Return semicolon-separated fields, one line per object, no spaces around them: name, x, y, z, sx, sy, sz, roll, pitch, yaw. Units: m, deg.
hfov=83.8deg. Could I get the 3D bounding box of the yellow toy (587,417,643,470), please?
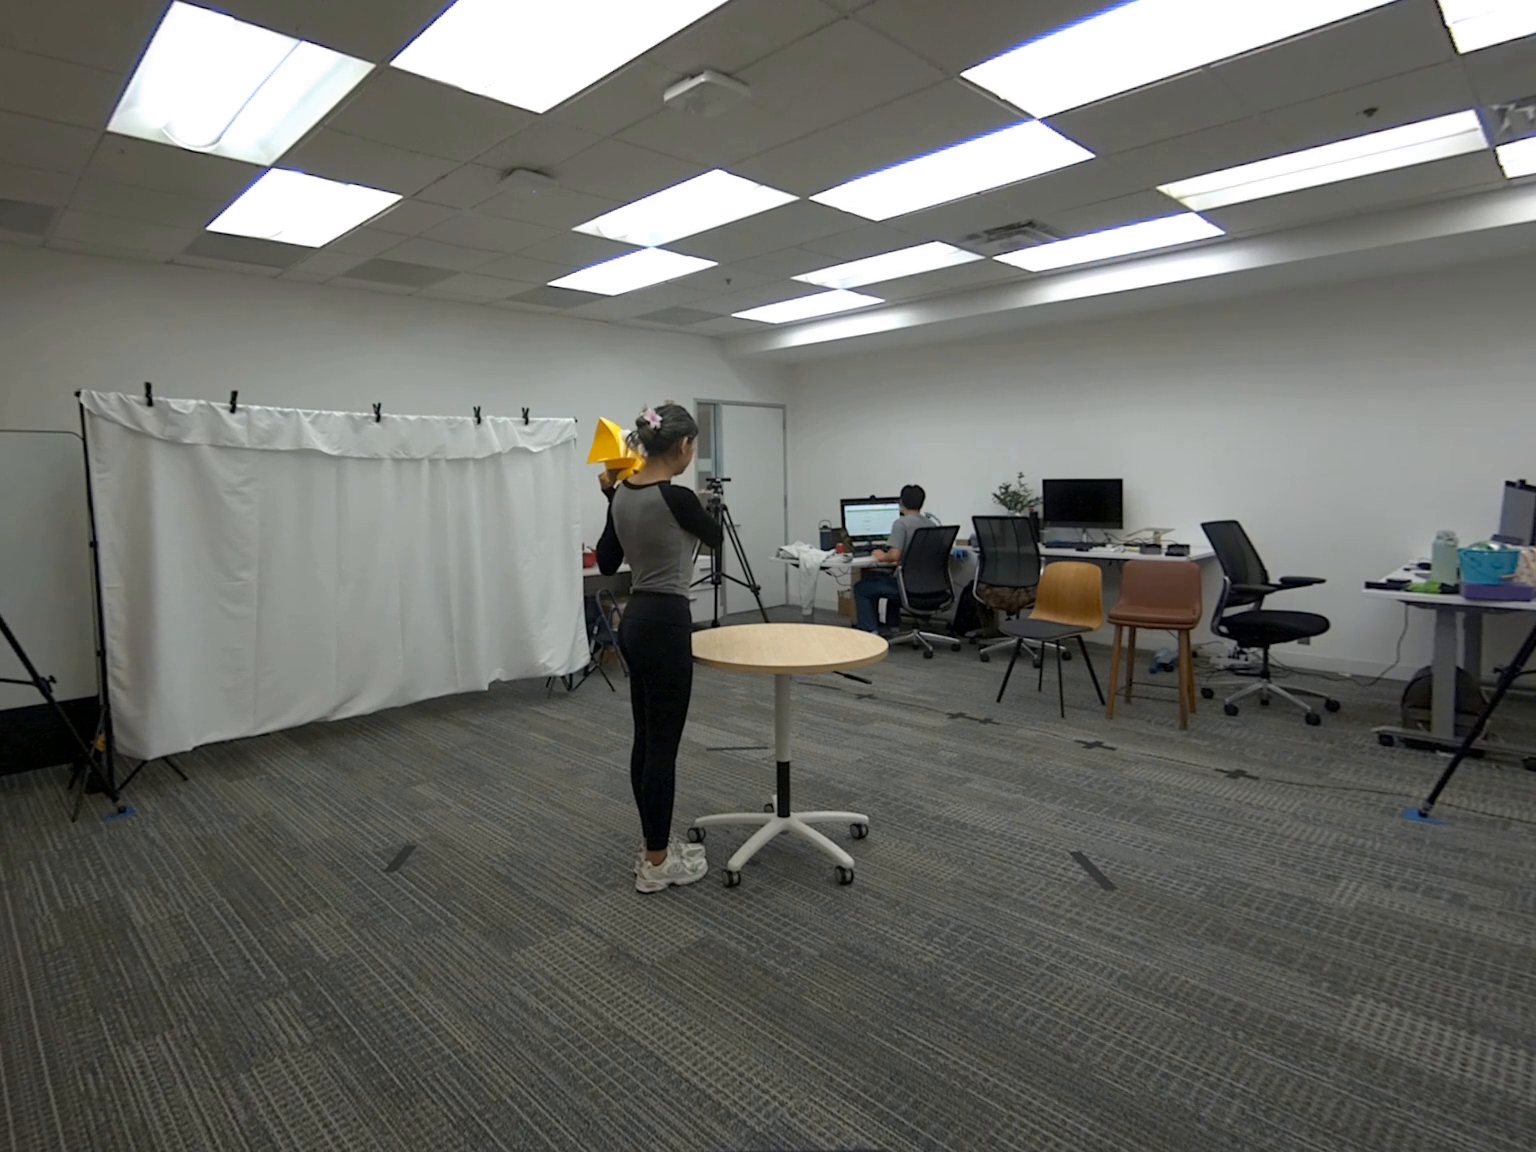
yellow toy;-0.526;-0.466;3.066;0.210;0.228;0.190;-2;15;43
